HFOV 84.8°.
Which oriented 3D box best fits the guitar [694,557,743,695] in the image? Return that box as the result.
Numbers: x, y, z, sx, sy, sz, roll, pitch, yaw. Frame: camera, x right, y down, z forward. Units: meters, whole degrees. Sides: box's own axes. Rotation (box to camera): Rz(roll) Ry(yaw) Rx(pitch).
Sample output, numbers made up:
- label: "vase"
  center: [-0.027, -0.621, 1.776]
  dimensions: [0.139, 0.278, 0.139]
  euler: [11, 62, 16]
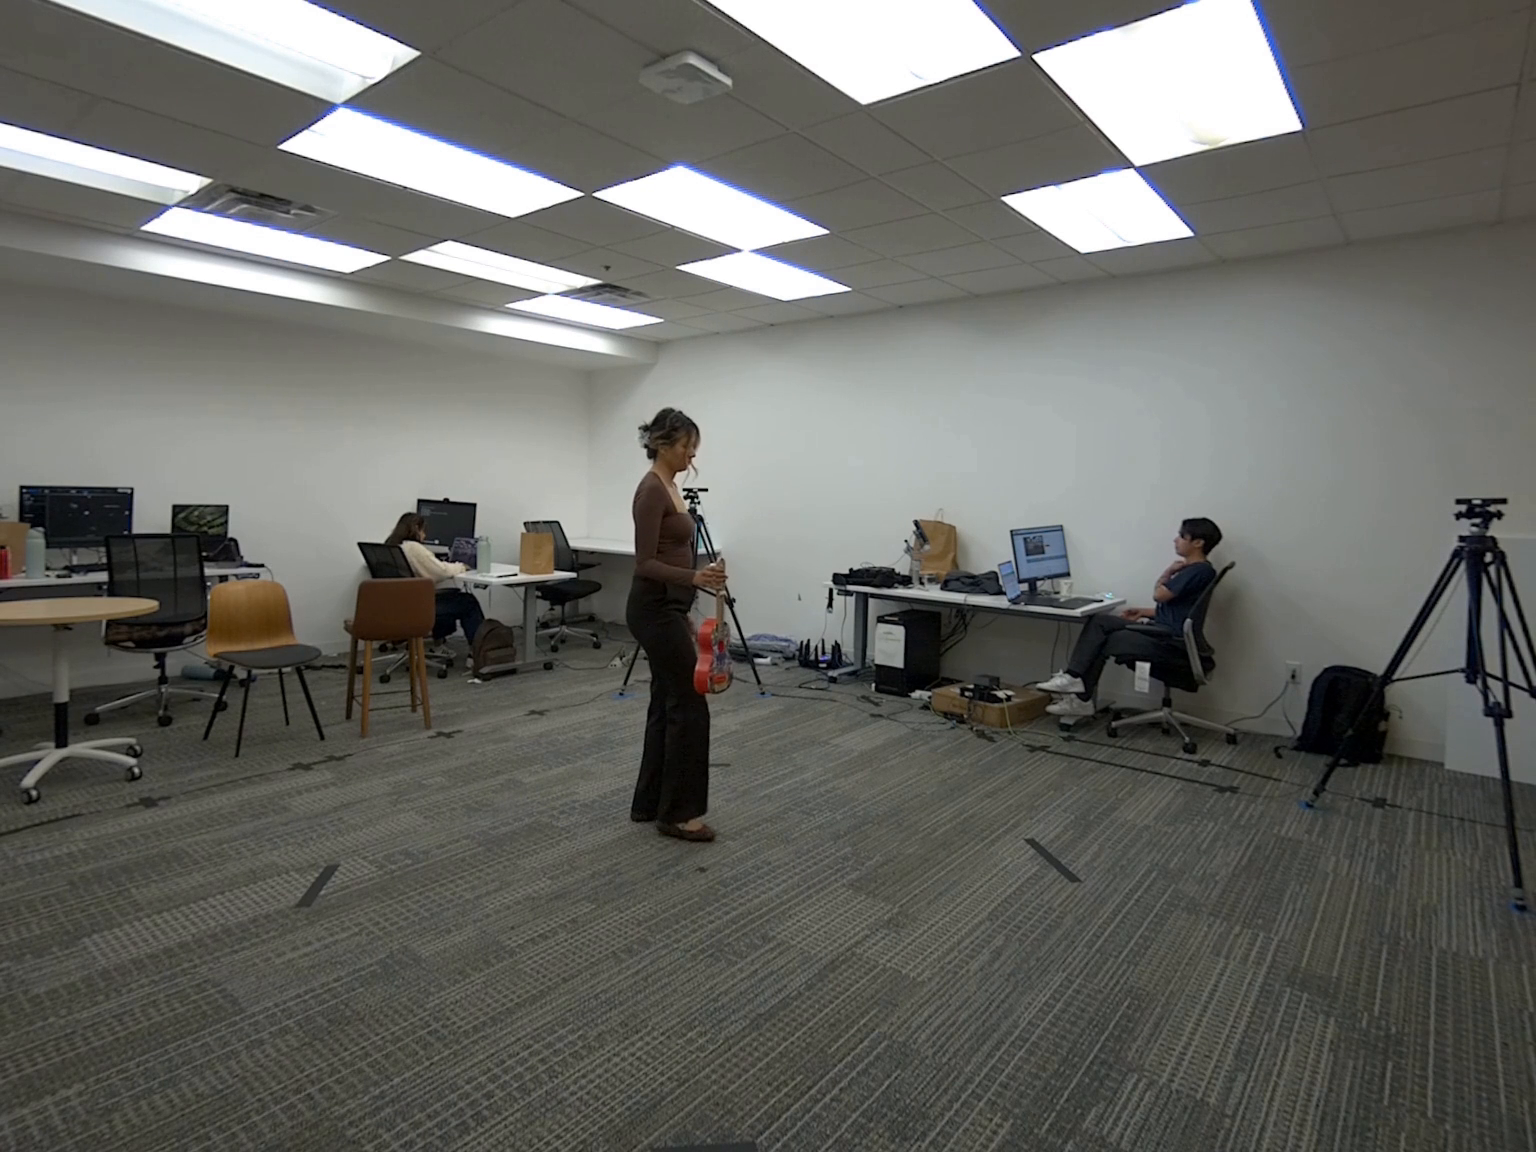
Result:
- label: "guitar"
  center: [-0.192, 0.184, 3.173]
  dimensions: [0.073, 0.500, 0.187]
  euler: [1, -5, 28]
